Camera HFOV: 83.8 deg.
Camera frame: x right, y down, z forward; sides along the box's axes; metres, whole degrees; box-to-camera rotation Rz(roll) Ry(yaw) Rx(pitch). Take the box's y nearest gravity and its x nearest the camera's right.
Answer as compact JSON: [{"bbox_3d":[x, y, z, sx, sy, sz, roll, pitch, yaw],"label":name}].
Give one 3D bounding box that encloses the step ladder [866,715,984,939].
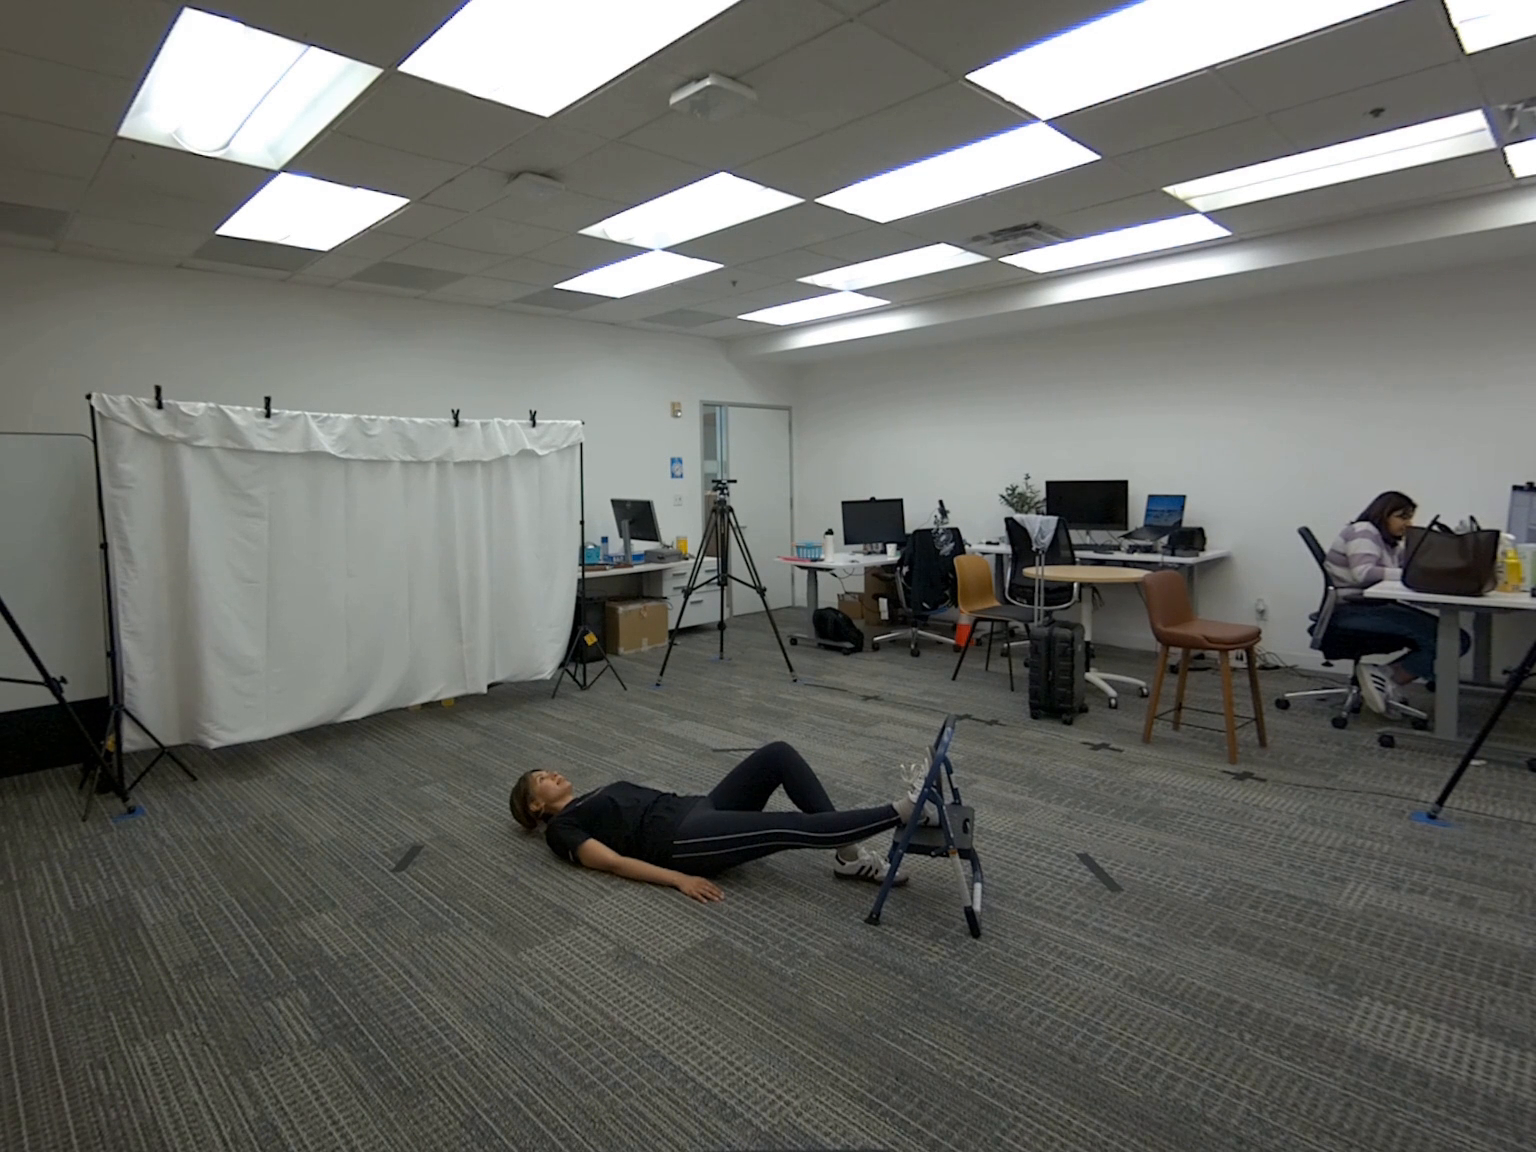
[{"bbox_3d":[0.528,0.771,2.799,0.355,0.604,0.425,0,4,16],"label":"step ladder"}]
